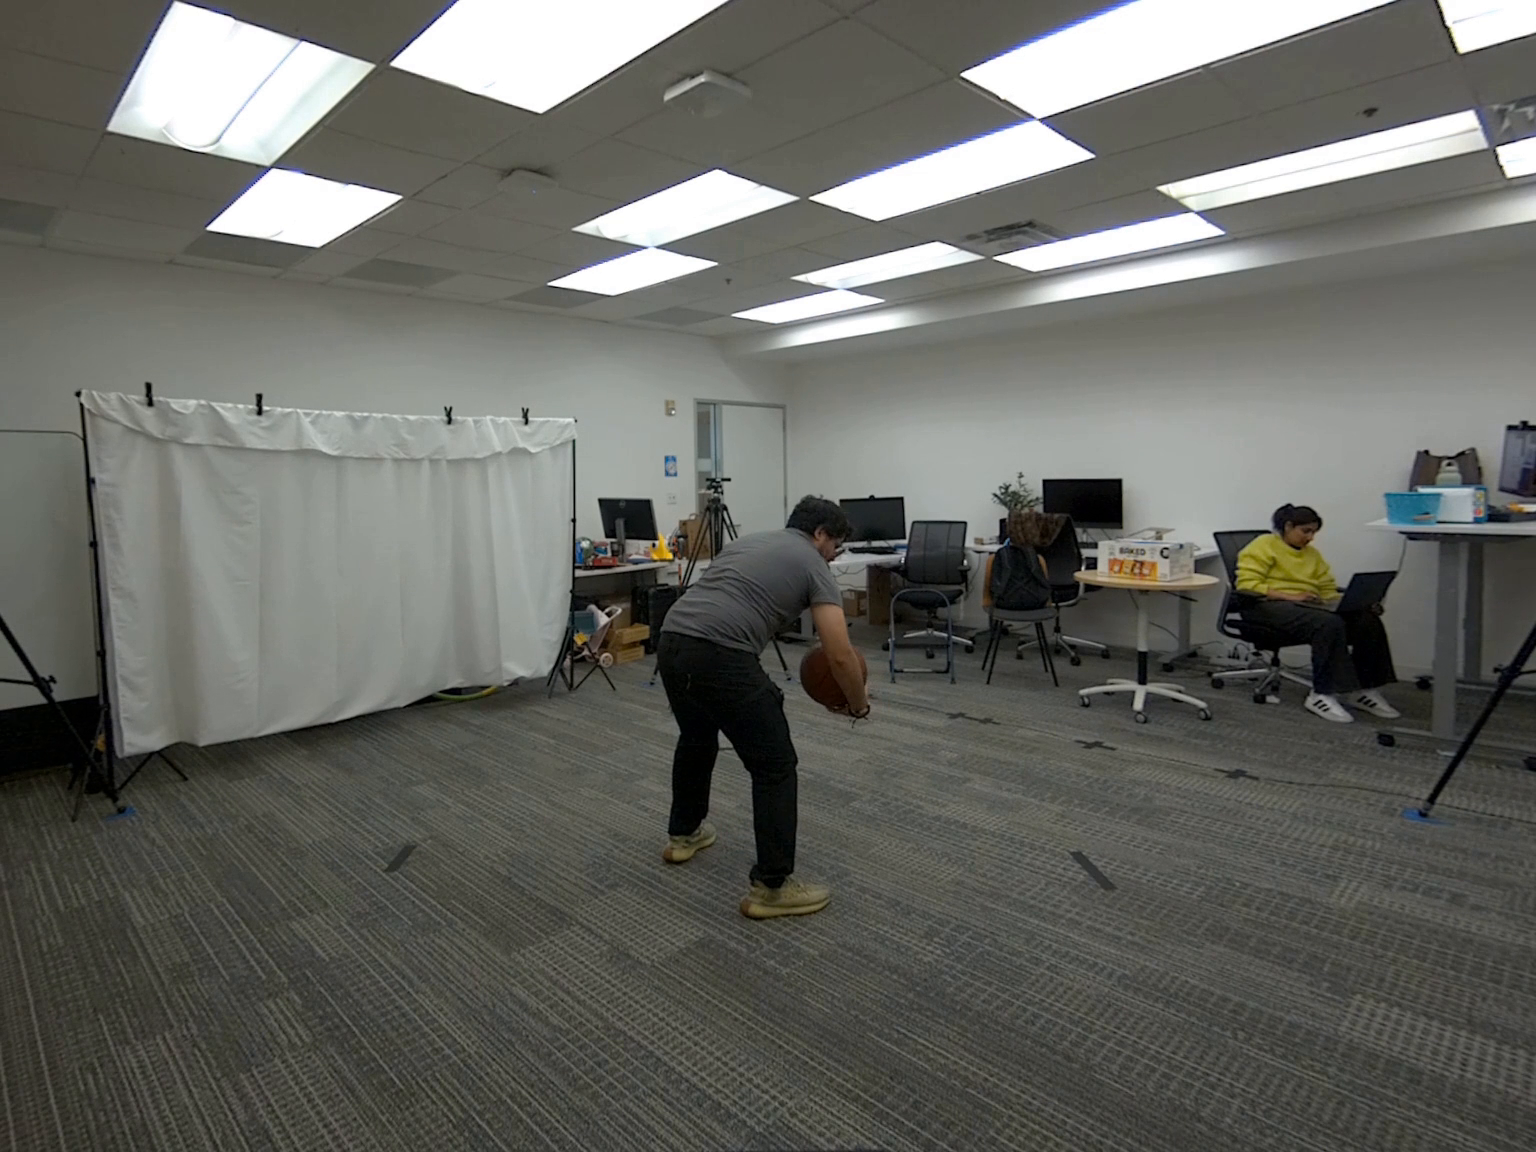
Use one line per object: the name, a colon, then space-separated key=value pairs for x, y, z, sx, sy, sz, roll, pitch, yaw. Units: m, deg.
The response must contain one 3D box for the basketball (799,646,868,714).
basketball: x=0.235 y=0.347 z=3.026 sx=0.236 sy=0.235 sz=0.237 roll=-1 pitch=5 yaw=-2
